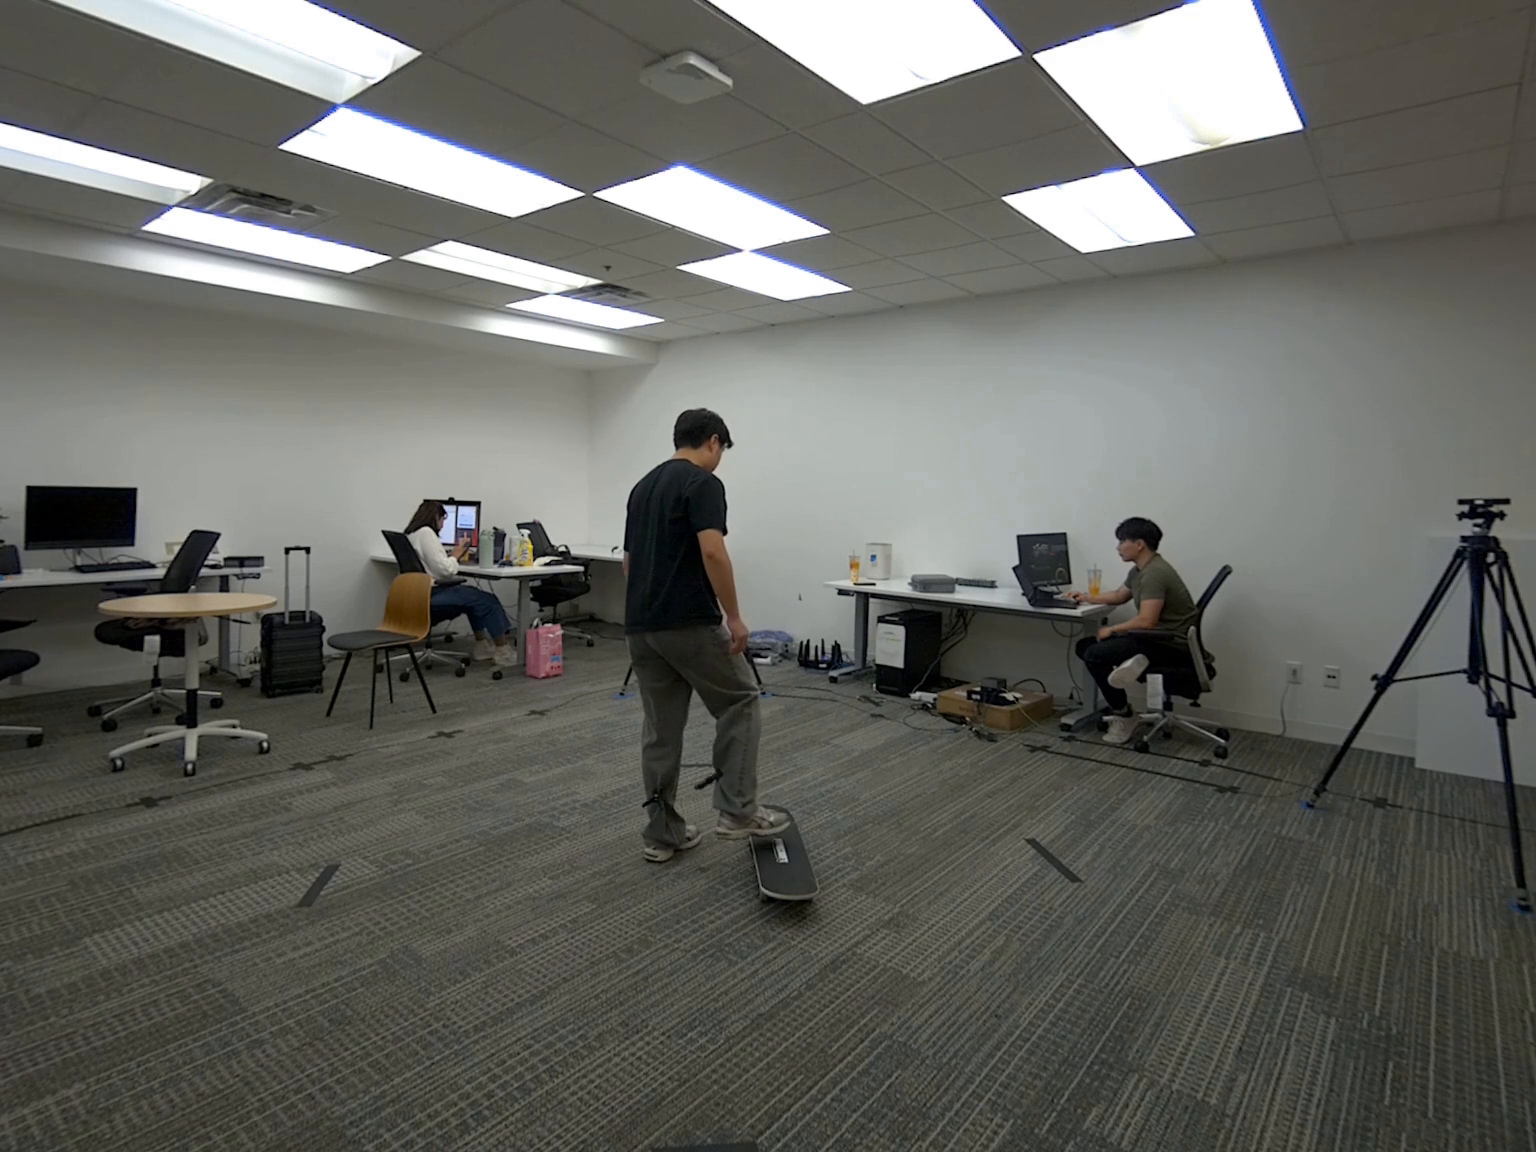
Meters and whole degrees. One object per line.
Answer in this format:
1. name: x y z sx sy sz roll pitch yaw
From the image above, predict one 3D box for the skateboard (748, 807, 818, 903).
1. skateboard: 0.036 1.019 3.078 0.192 0.110 0.792 2 5 -6
